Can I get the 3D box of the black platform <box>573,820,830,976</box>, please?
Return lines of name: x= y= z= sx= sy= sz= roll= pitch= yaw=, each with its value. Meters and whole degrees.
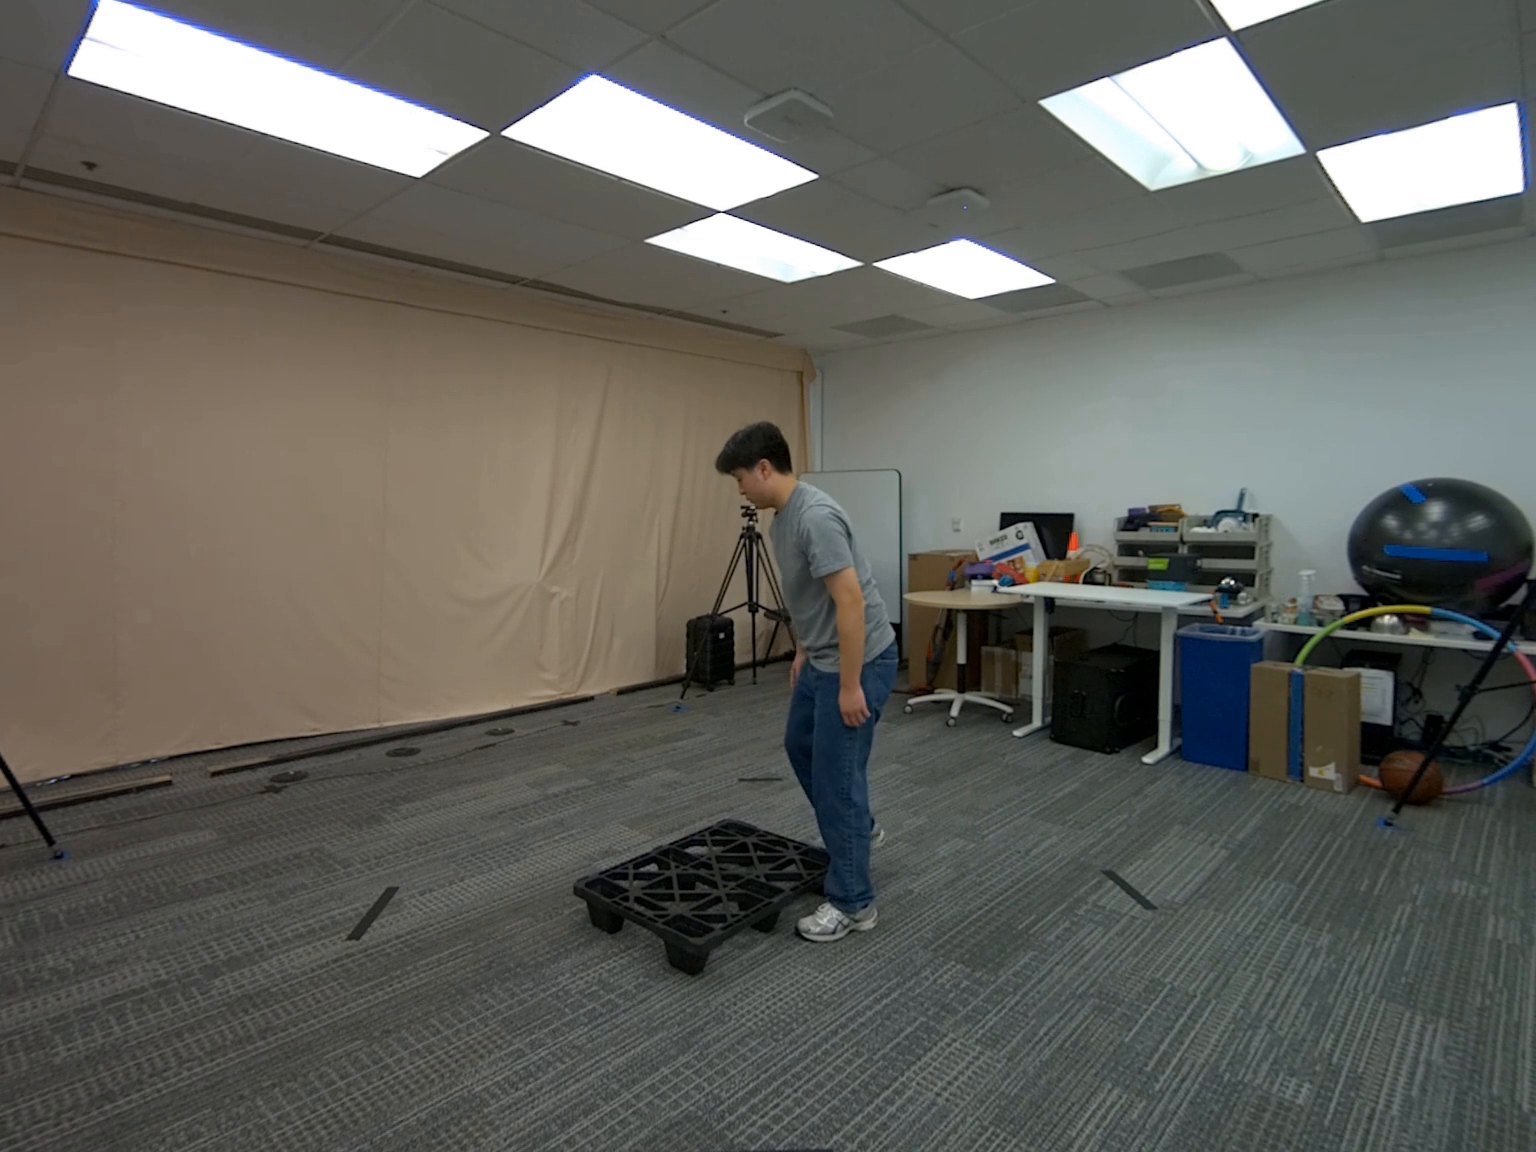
black platform: x=-0.181 y=1.084 z=2.911 sx=0.625 sy=0.143 sz=0.781 roll=3 pitch=6 yaw=40
